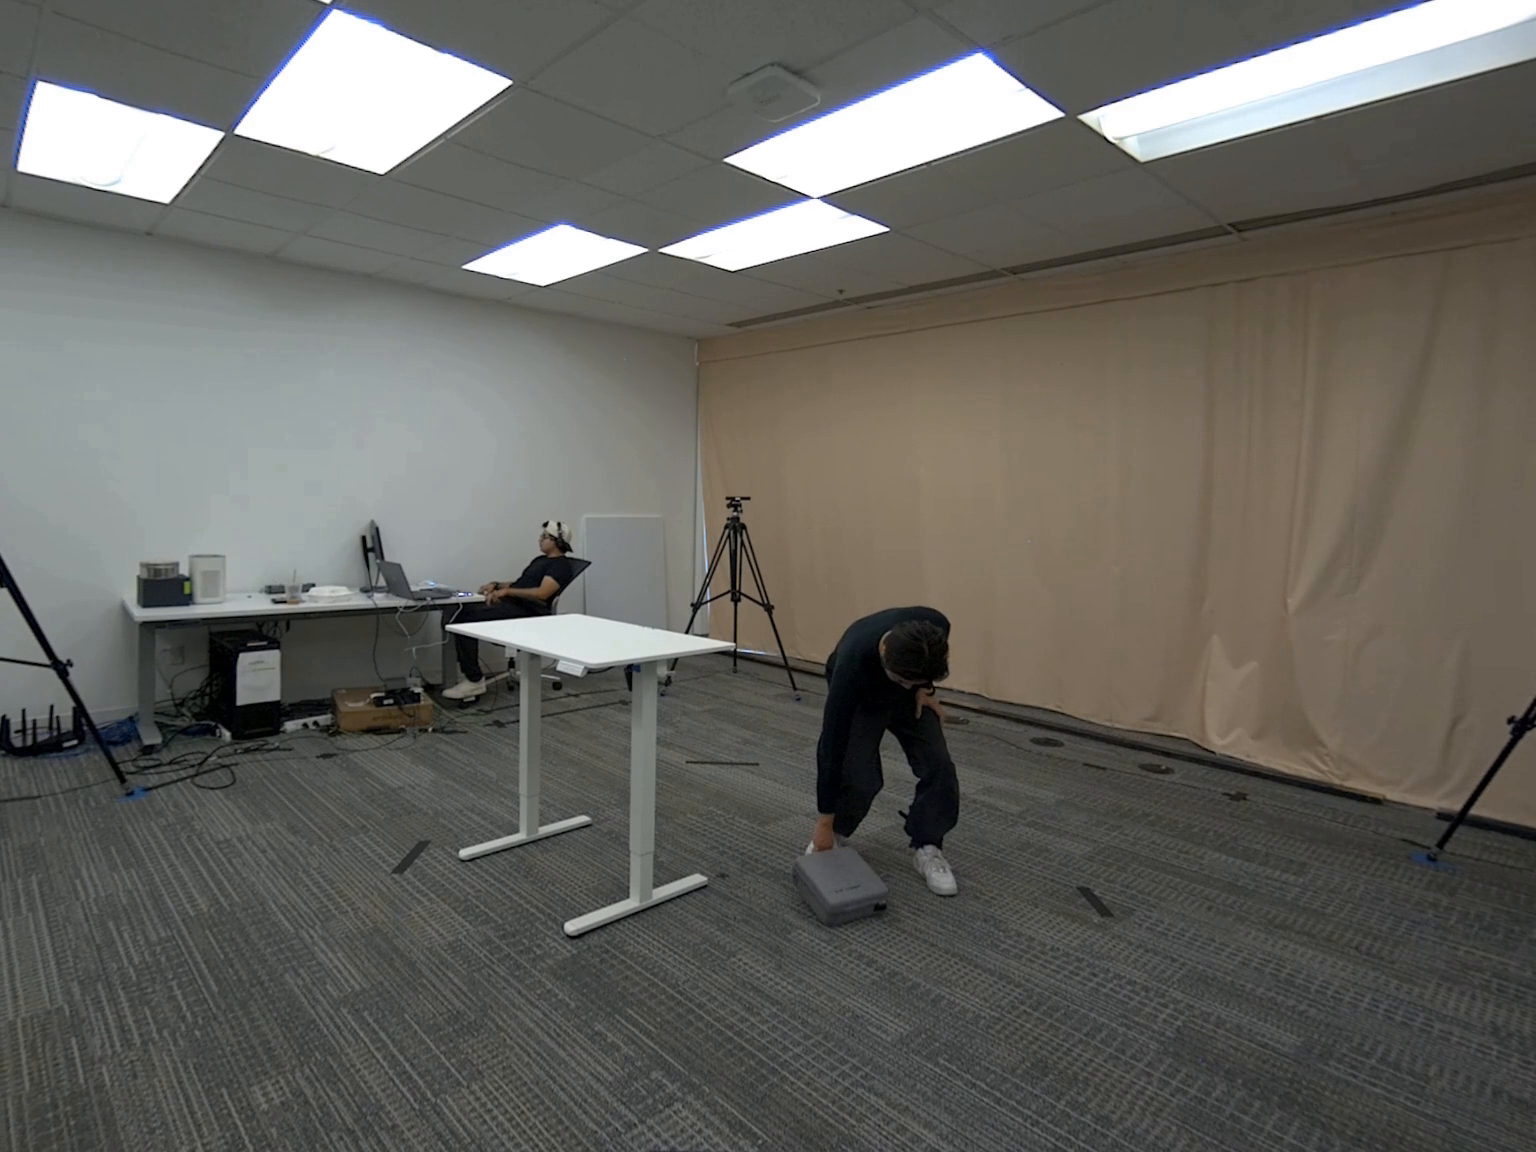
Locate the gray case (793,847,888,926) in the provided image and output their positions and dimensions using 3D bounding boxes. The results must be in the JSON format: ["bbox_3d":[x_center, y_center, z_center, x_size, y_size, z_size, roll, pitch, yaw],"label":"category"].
[{"bbox_3d":[0.230,1.049,2.870,0.252,0.103,0.268,-4,21,-27],"label":"gray case"}]
